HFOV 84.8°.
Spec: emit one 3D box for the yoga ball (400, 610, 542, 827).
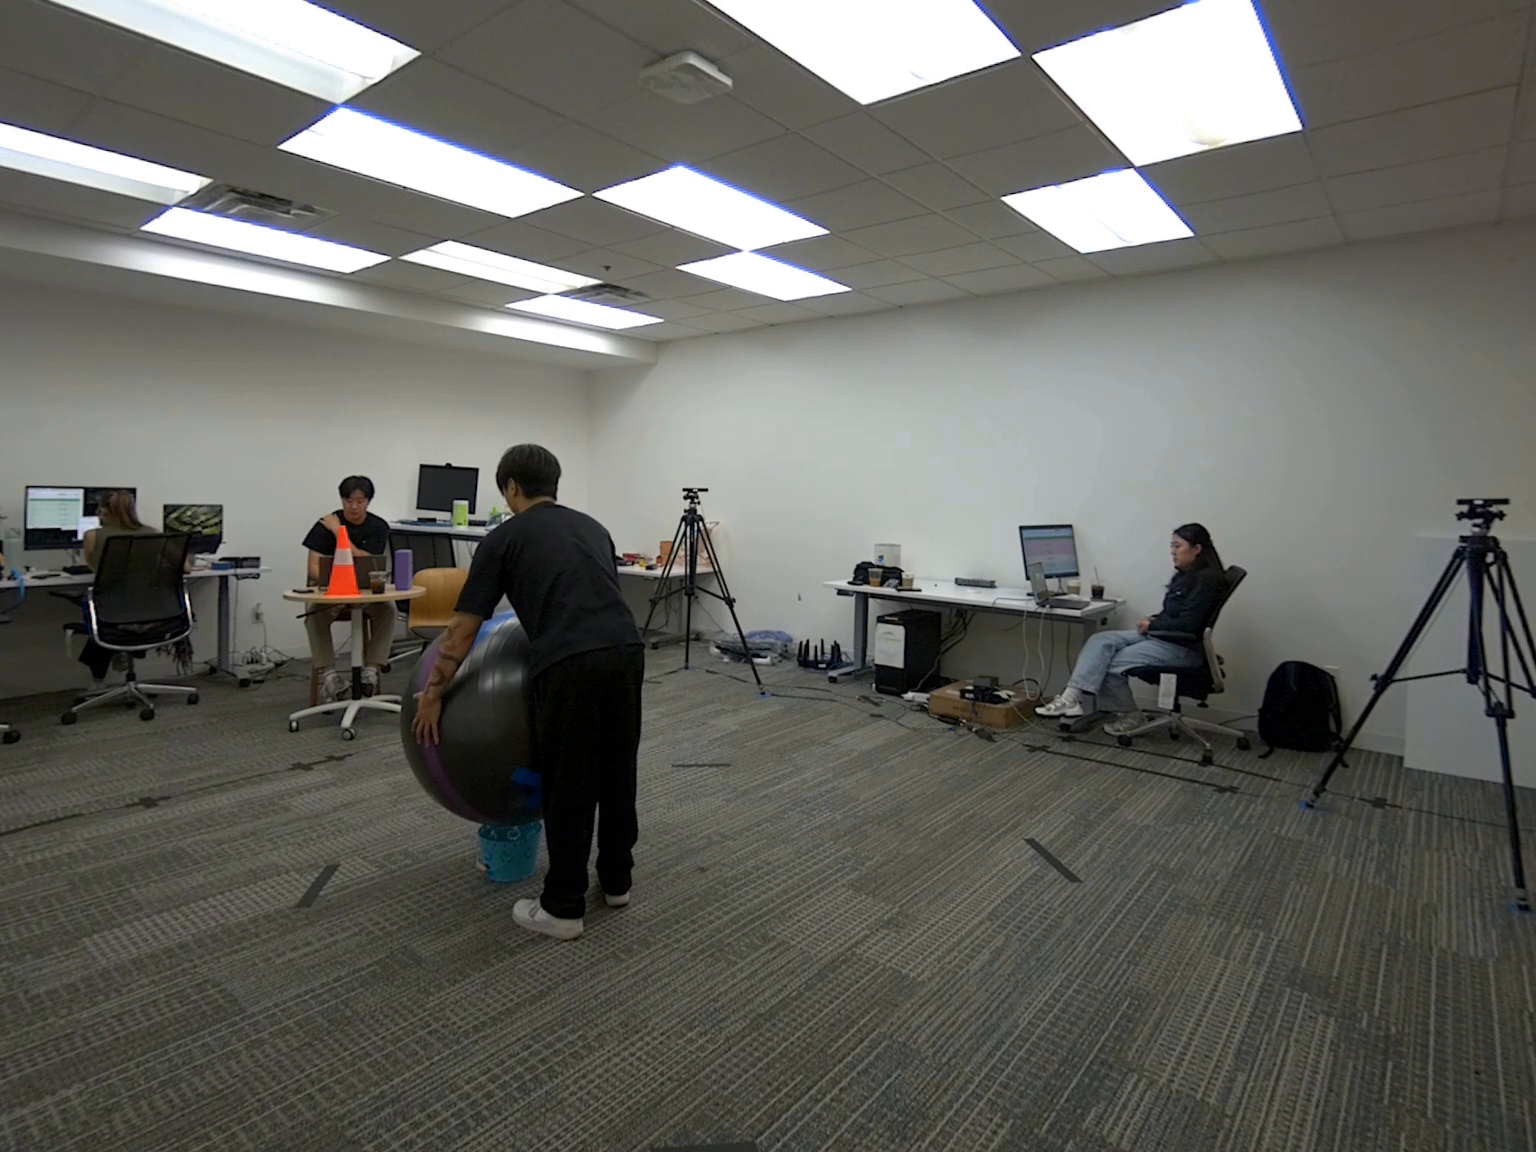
[{"bbox_3d":[-0.916,0.483,3.019,0.757,0.756,0.762,1,4,-2],"label":"yoga ball"}]
